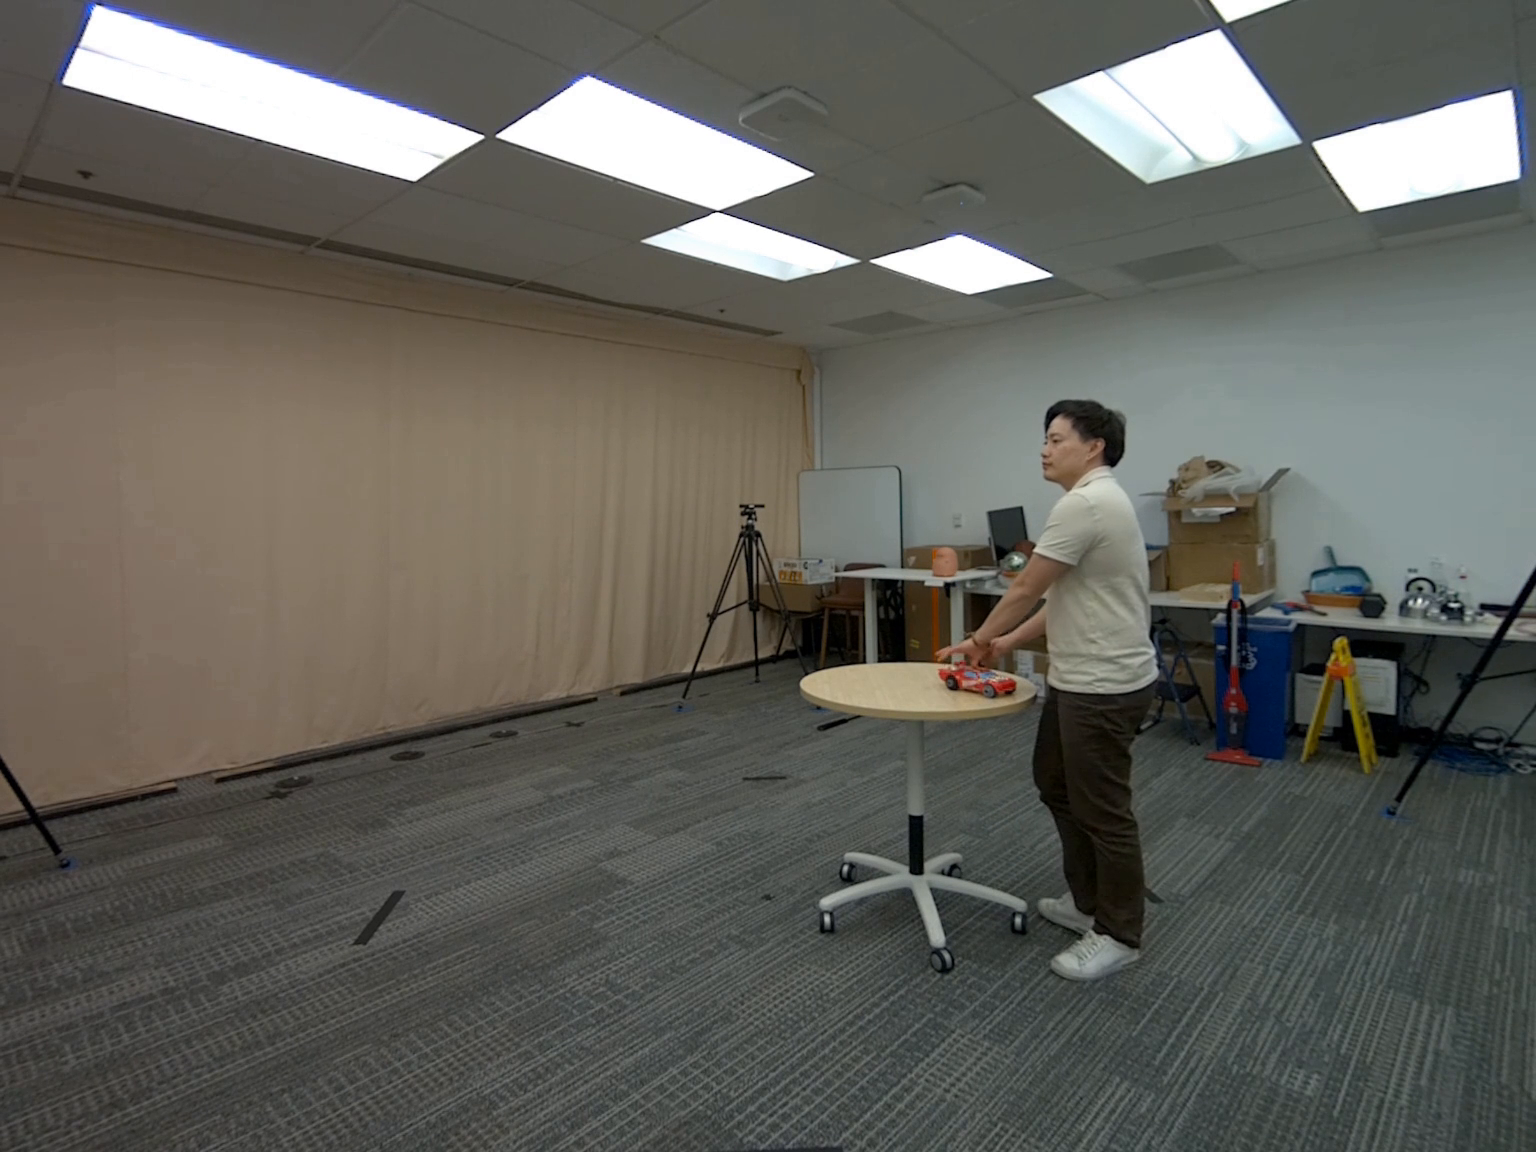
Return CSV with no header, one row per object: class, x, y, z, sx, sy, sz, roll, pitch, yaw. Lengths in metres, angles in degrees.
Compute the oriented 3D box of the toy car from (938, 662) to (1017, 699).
toy car,0.677,0.338,2.685,0.126,0.082,0.264,-4,16,-35
